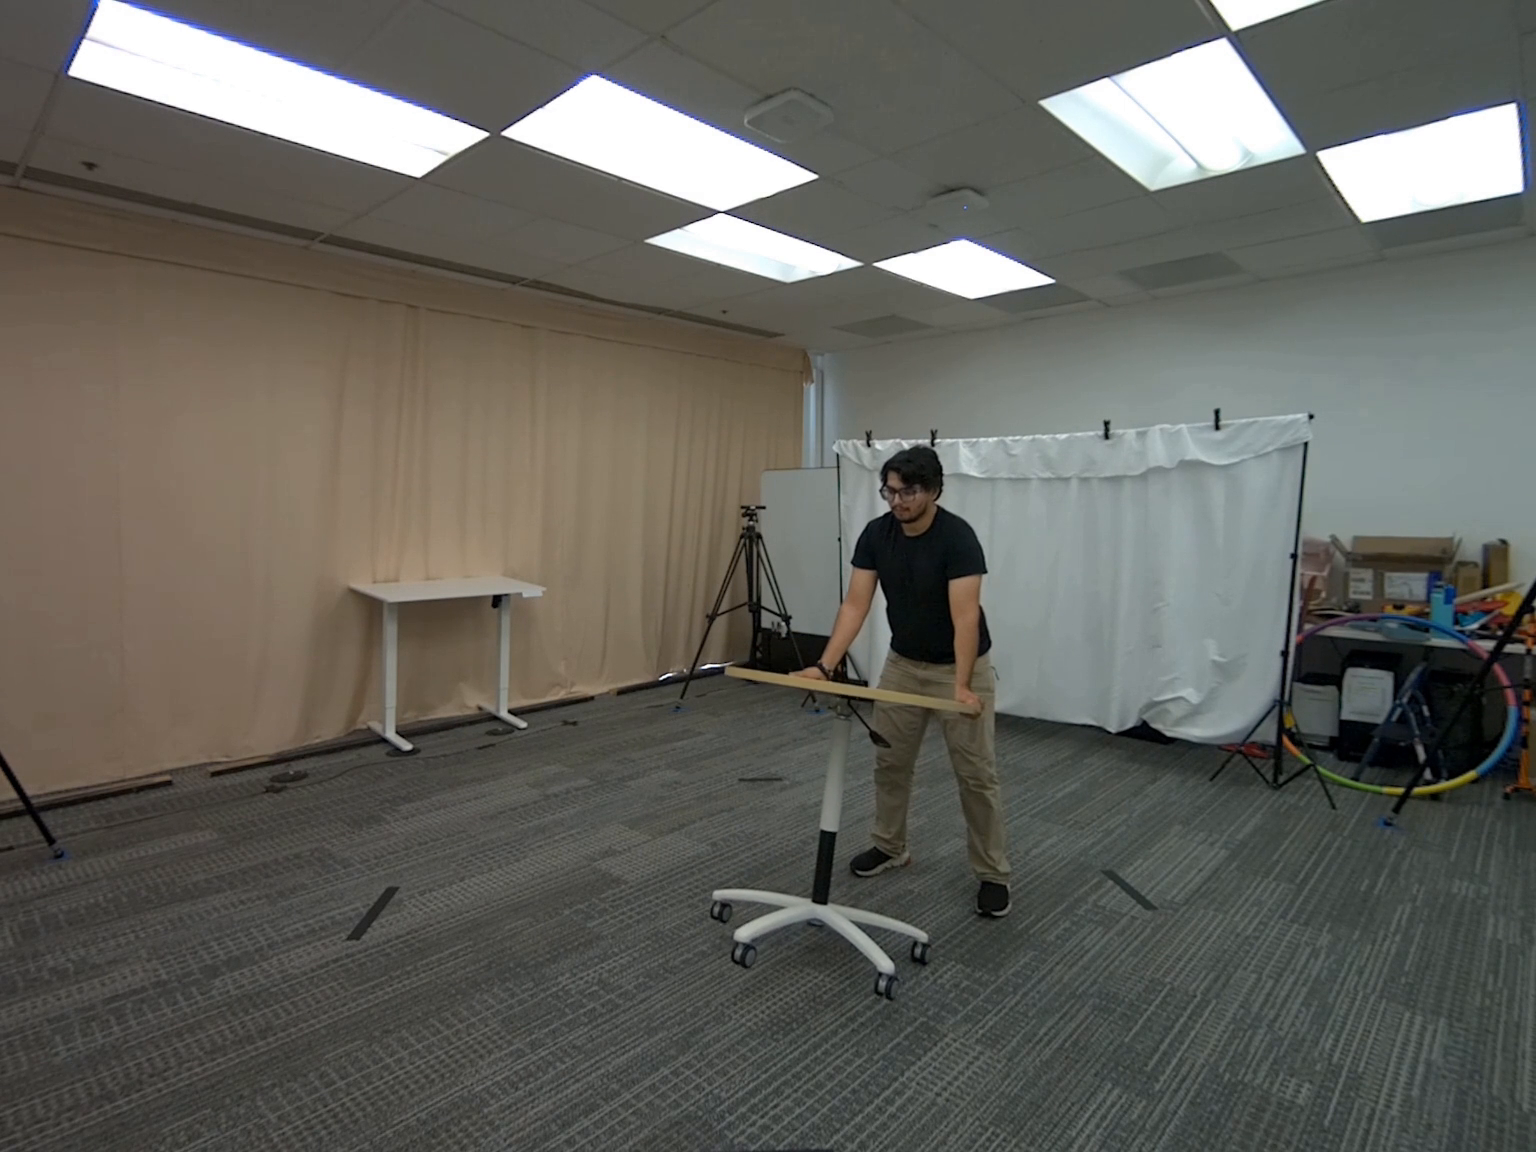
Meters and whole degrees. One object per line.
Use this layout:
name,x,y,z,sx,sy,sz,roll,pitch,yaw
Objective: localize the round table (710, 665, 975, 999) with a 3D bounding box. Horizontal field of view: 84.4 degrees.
round table,0.199,0.731,2.571,0.785,0.789,0.782,8,-7,-1
